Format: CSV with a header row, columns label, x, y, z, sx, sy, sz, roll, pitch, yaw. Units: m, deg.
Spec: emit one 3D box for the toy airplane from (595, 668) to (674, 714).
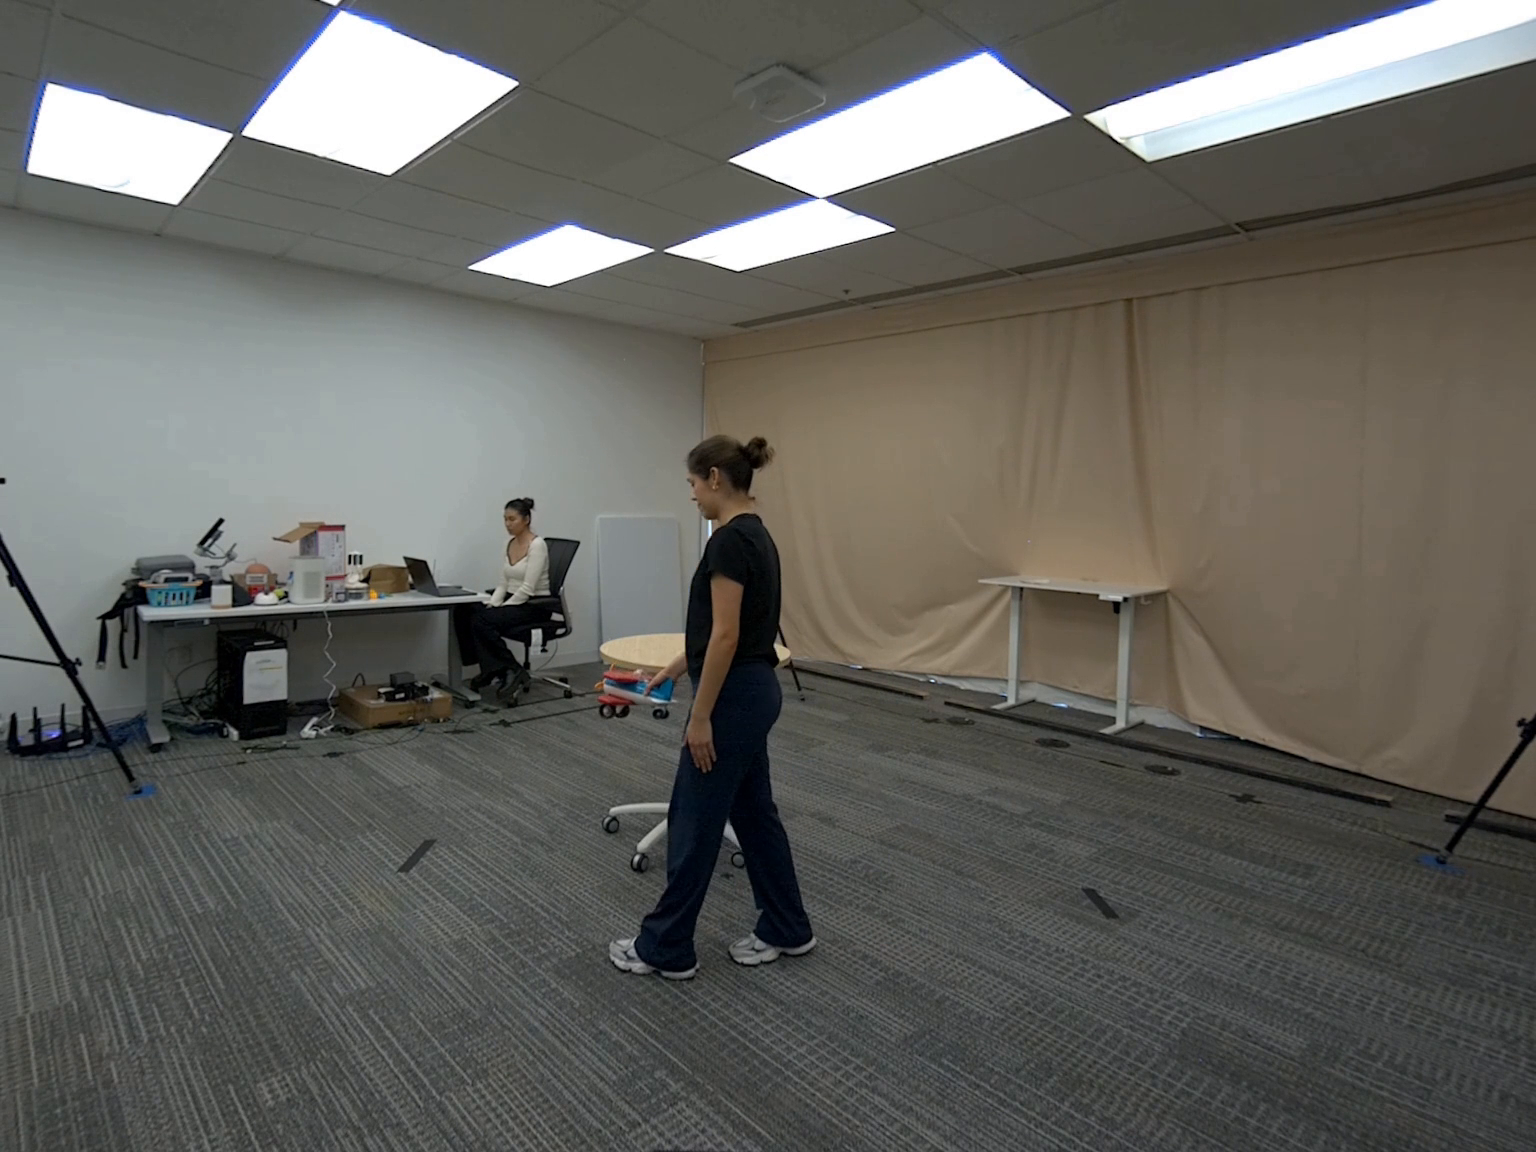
label,x,y,z,sx,sy,sz,roll,pitch,yaw
toy airplane,-0.430,0.394,2.773,0.258,0.157,0.250,0,-8,-6
